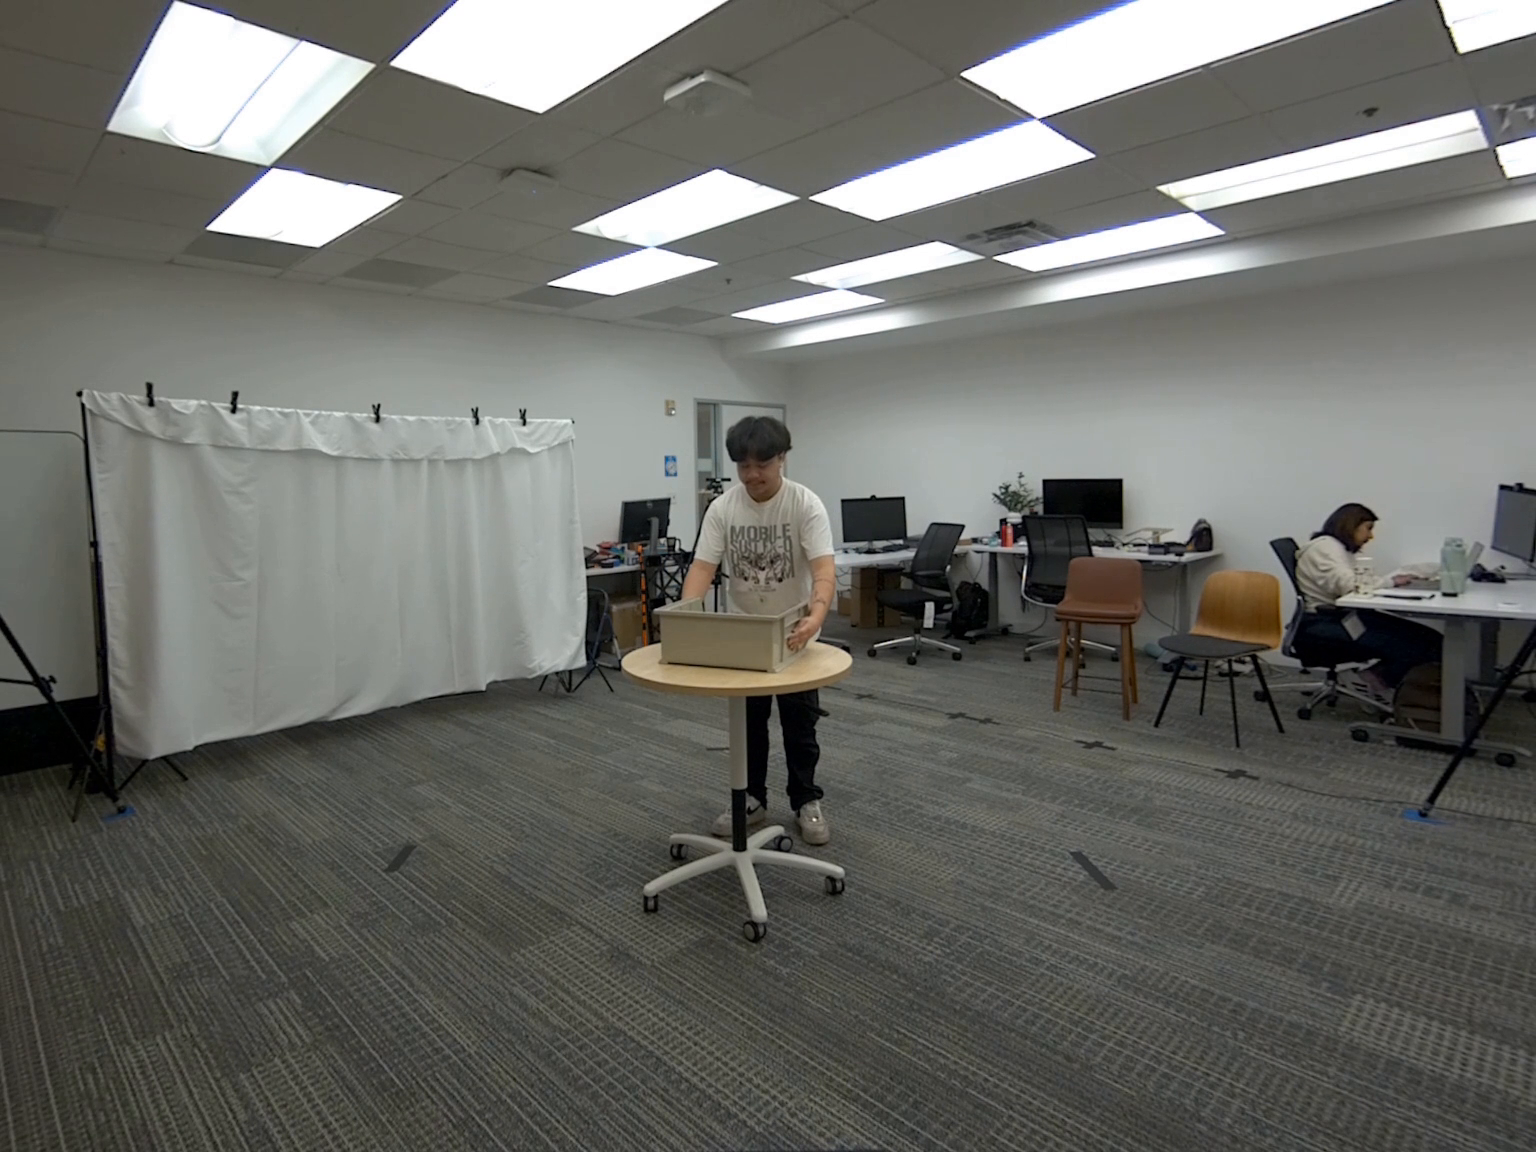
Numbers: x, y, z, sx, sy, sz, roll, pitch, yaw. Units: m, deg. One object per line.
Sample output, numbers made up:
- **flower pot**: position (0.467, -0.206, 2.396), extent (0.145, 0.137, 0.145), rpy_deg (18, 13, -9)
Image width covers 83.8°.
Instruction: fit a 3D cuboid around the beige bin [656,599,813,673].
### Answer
- **beige bin**: position (-0.115, 0.190, 2.859), extent (0.431, 0.188, 0.371), rpy_deg (2, 8, 22)
